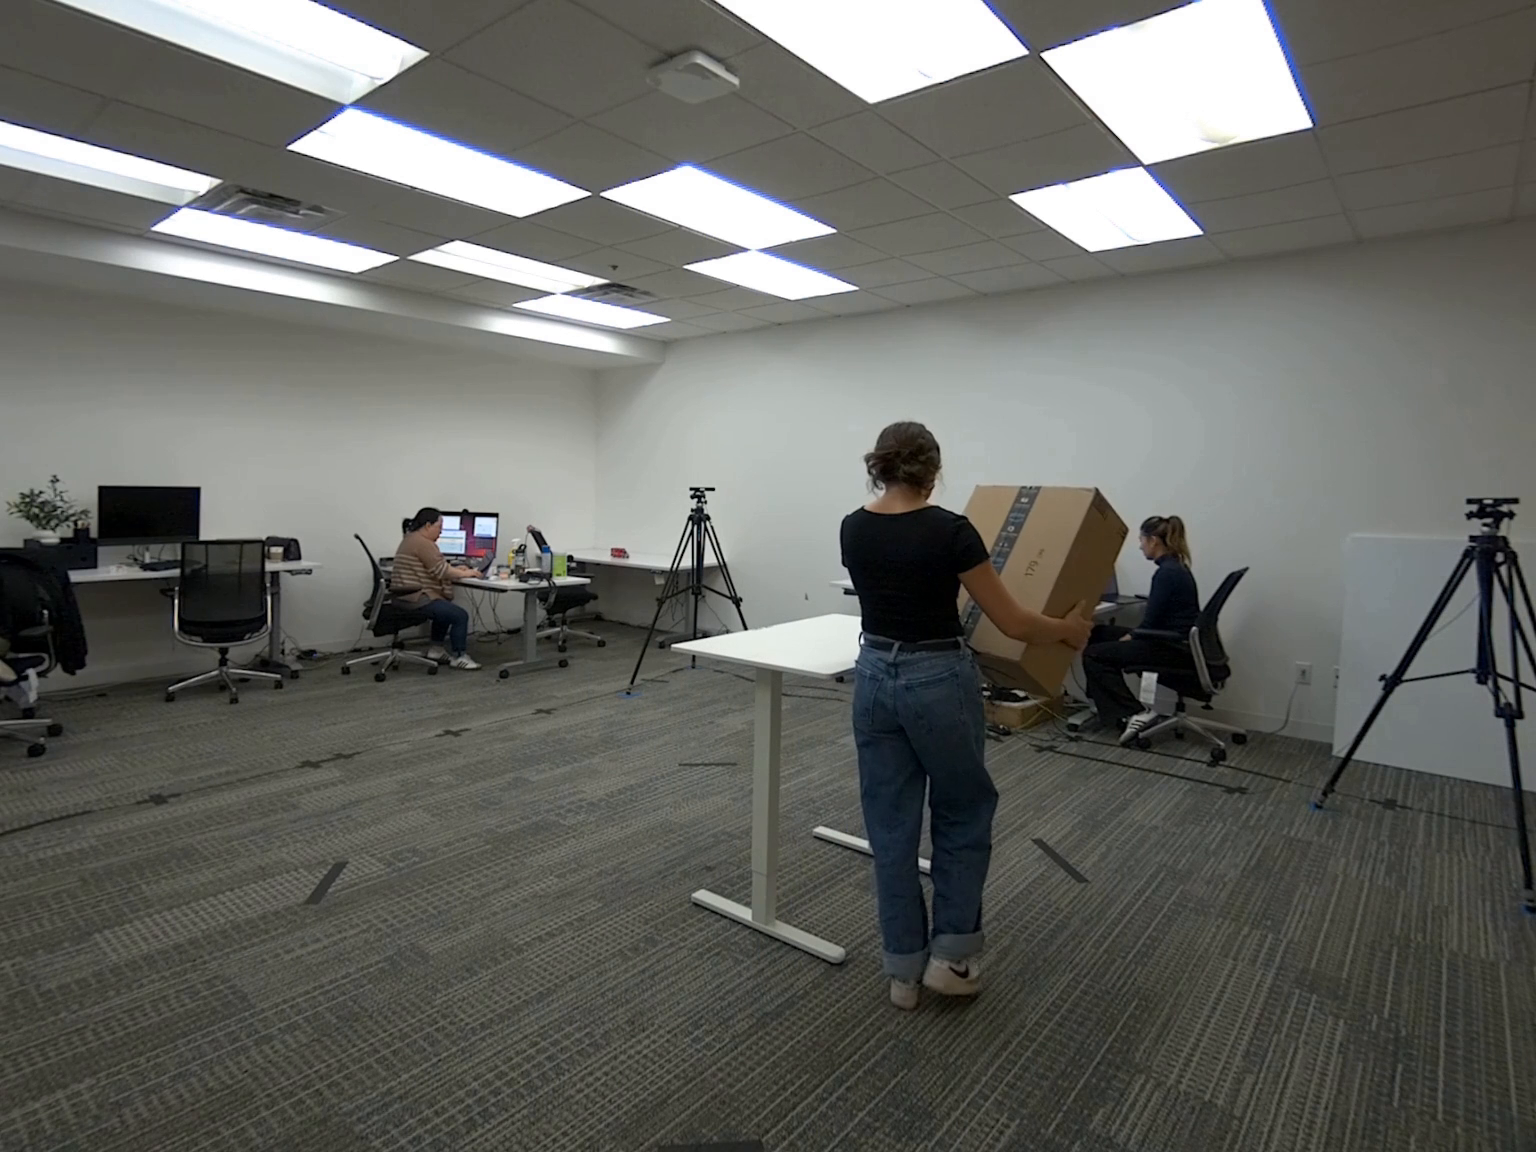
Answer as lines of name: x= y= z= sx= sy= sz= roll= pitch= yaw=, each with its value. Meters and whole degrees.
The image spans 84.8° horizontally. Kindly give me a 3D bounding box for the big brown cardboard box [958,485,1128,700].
big brown cardboard box: x=0.726 y=0.020 z=2.519 sx=0.224 sy=0.591 sz=0.432 roll=41 pitch=-19 yaw=-33
